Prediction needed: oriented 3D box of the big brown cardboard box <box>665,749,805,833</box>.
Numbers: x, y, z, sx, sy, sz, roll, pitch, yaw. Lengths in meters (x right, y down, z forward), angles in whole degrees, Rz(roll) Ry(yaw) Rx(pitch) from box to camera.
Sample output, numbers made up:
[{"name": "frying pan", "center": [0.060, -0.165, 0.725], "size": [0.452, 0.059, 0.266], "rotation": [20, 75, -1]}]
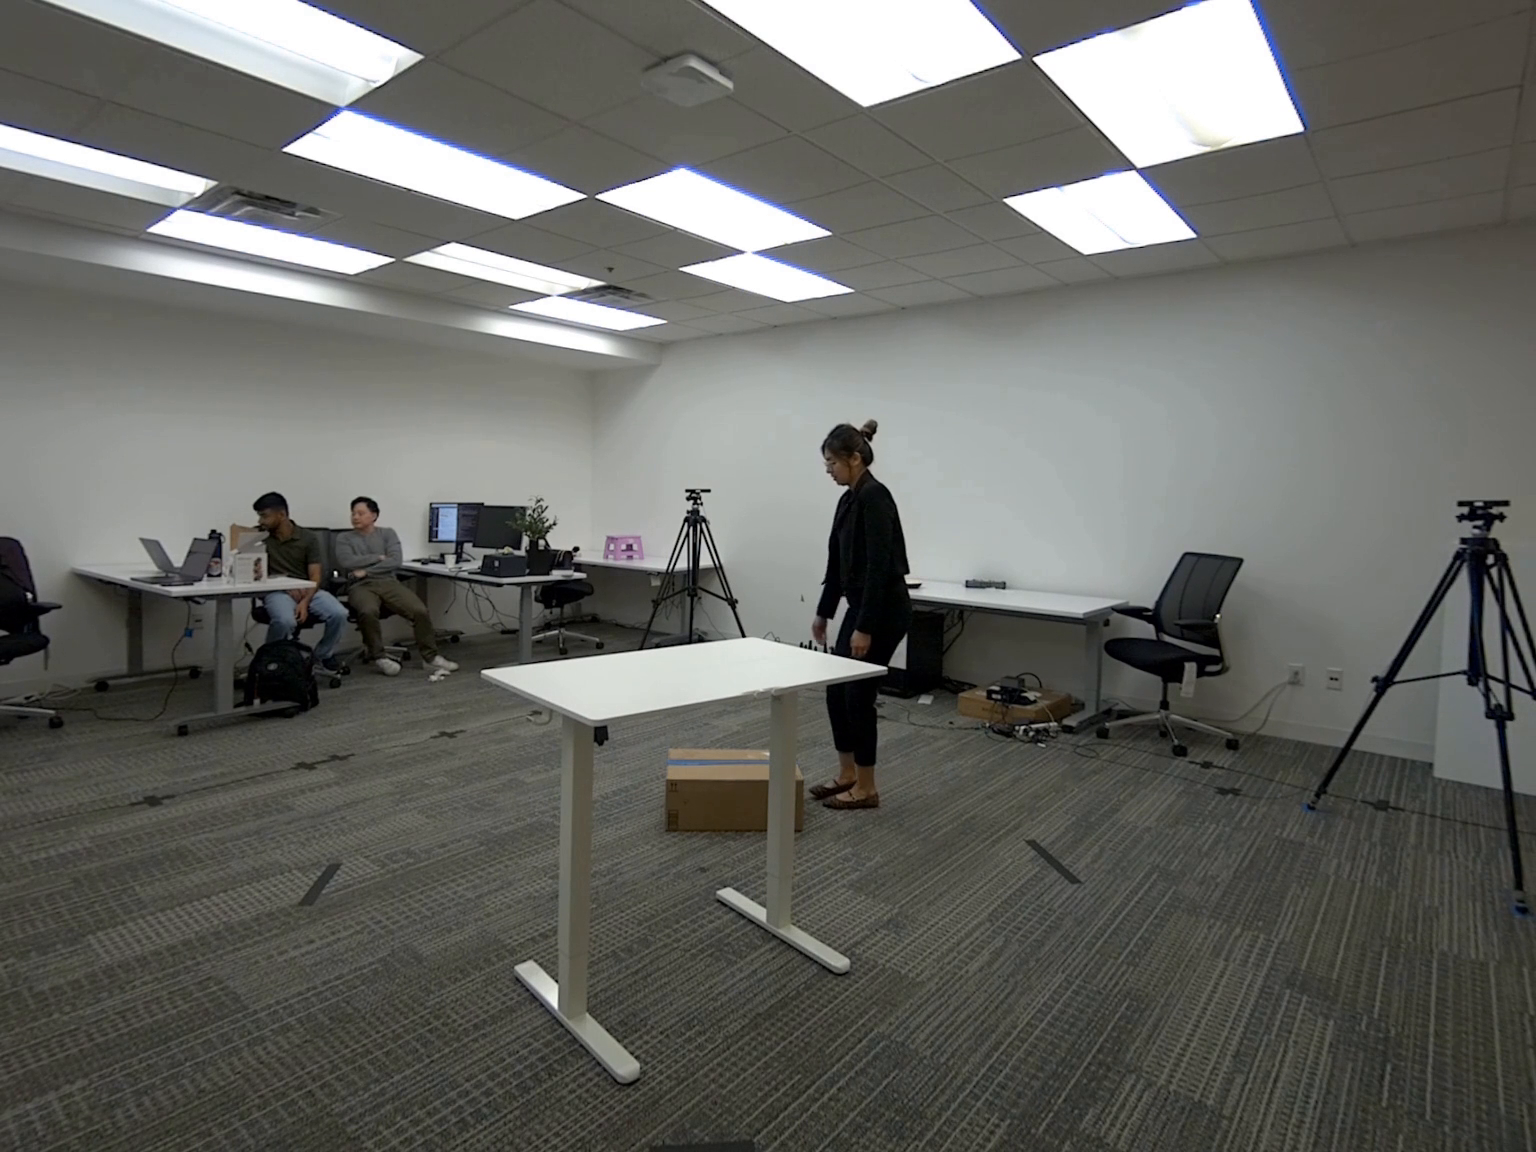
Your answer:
[{"name": "big brown cardboard box", "center": [-0.163, 0.910, 3.669], "size": [0.586, 0.232, 0.421], "rotation": [0, 5, -5]}]
